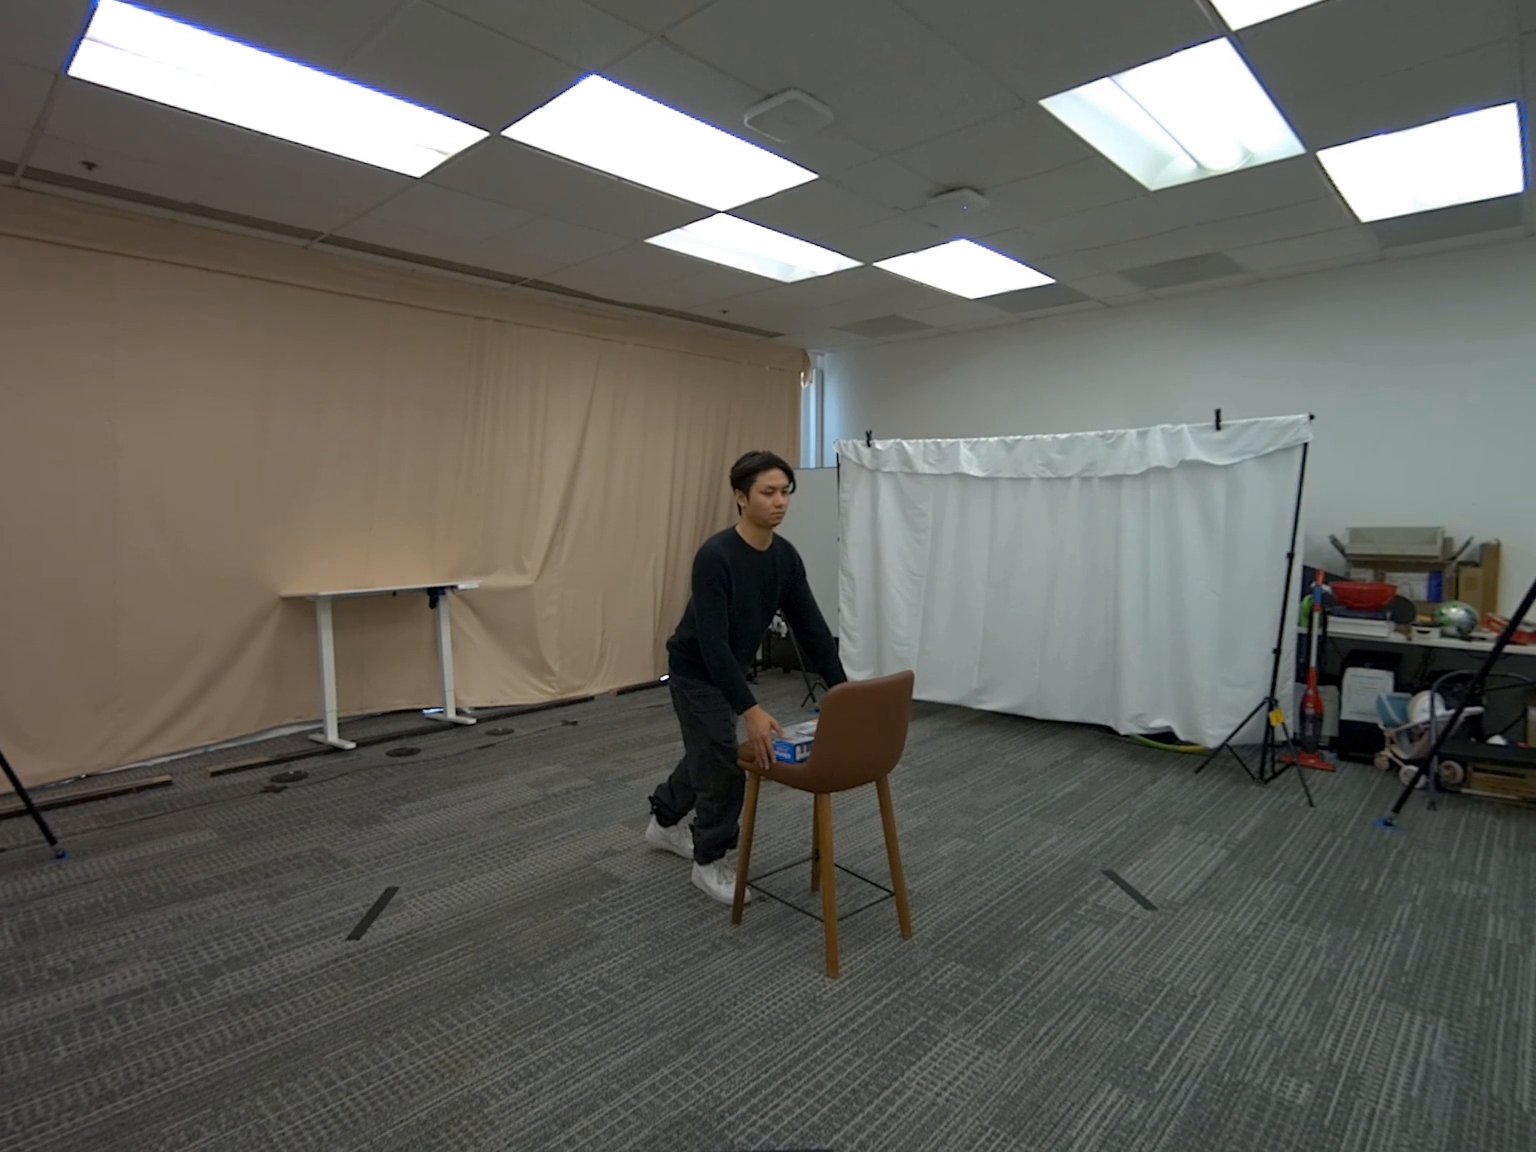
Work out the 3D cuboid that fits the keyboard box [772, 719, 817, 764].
[{"bbox_3d":[0.176,0.508,2.725,0.424,0.059,0.181,-6,3,-42],"label":"keyboard box"}]
